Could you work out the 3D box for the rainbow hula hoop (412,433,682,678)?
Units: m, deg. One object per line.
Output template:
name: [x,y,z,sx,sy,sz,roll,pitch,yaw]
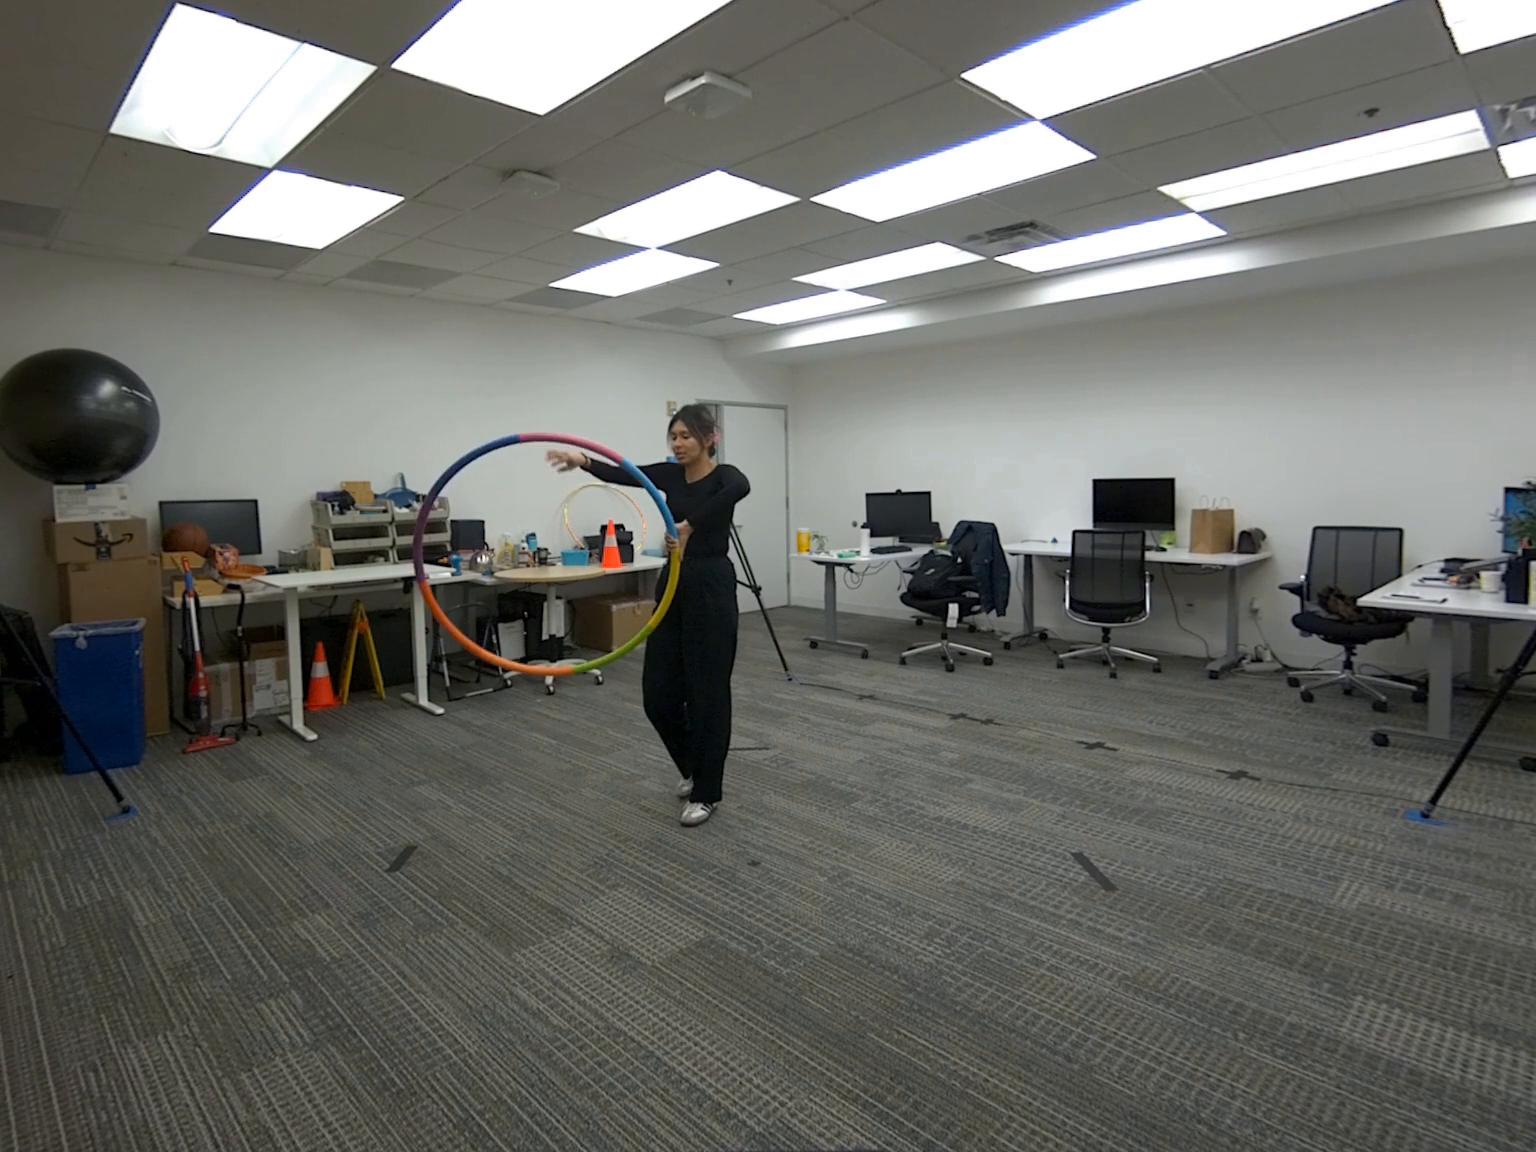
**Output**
rainbow hula hoop: [-0.812,-0.042,3.190,0.982,0.966,0.053,-1,23,-3]
